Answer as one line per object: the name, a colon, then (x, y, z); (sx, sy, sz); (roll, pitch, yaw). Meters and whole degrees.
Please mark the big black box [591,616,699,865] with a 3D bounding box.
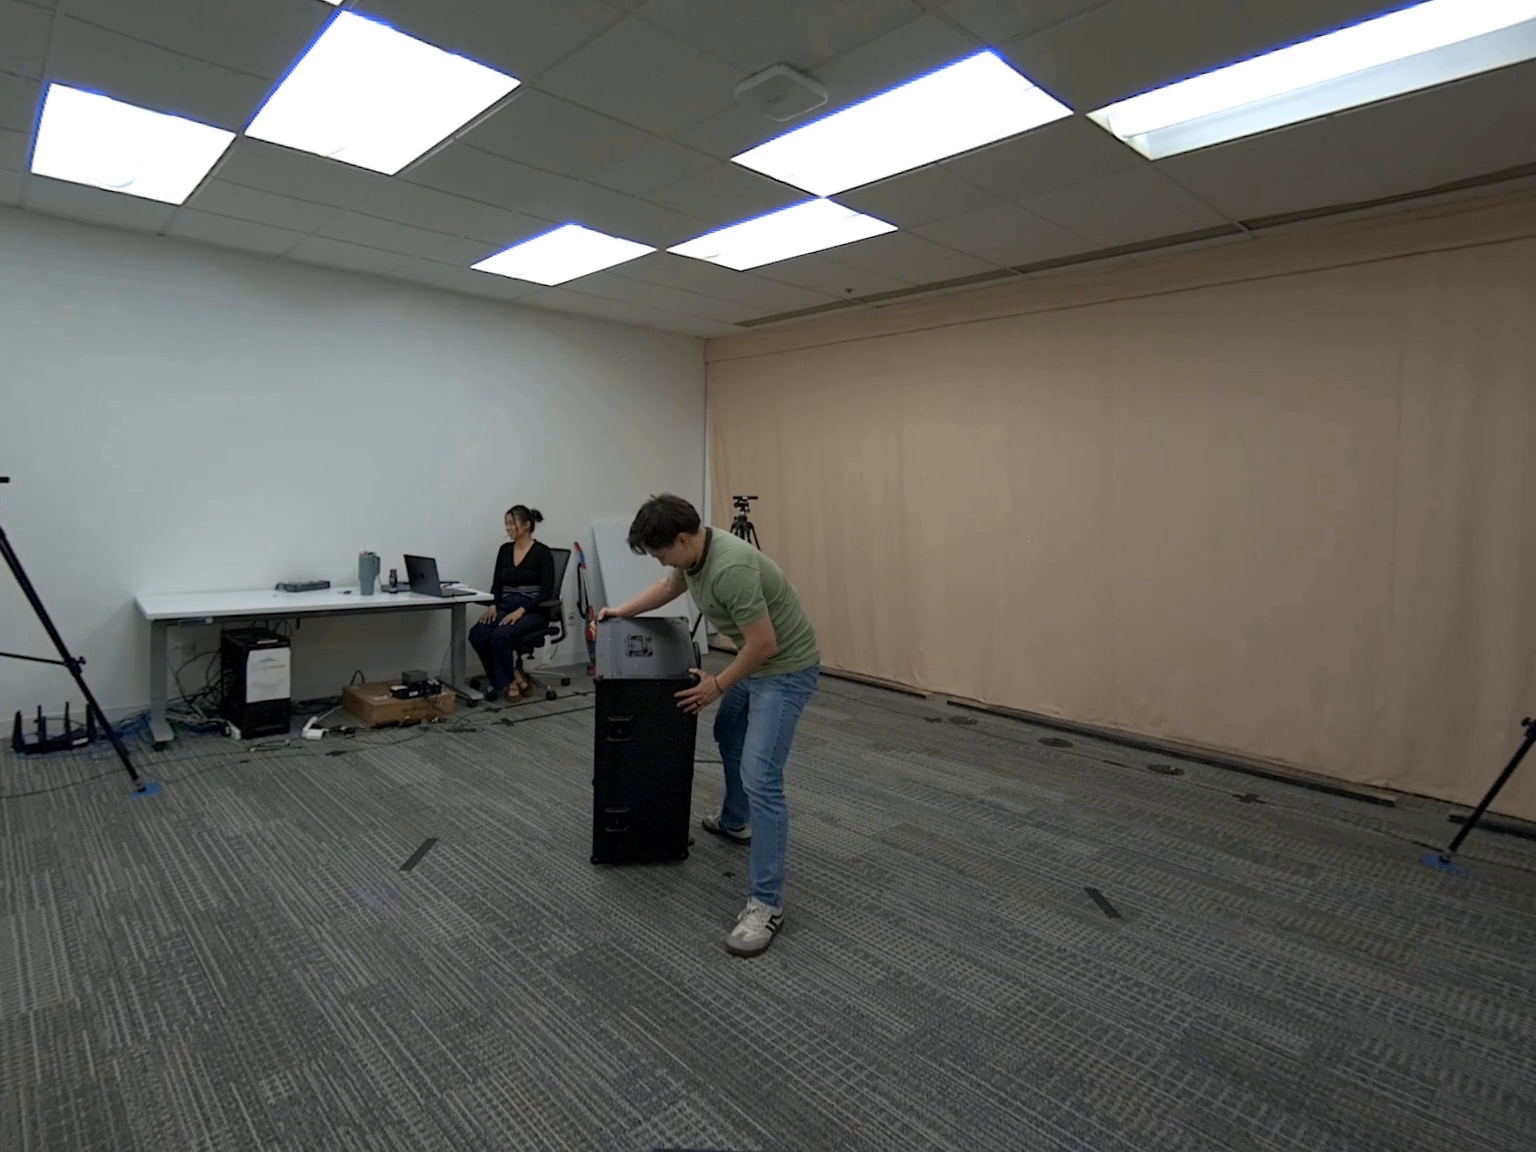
big black box: (-0.484, 0.645, 3.232); (0.393, 0.850, 0.532); (2, 21, -11)
